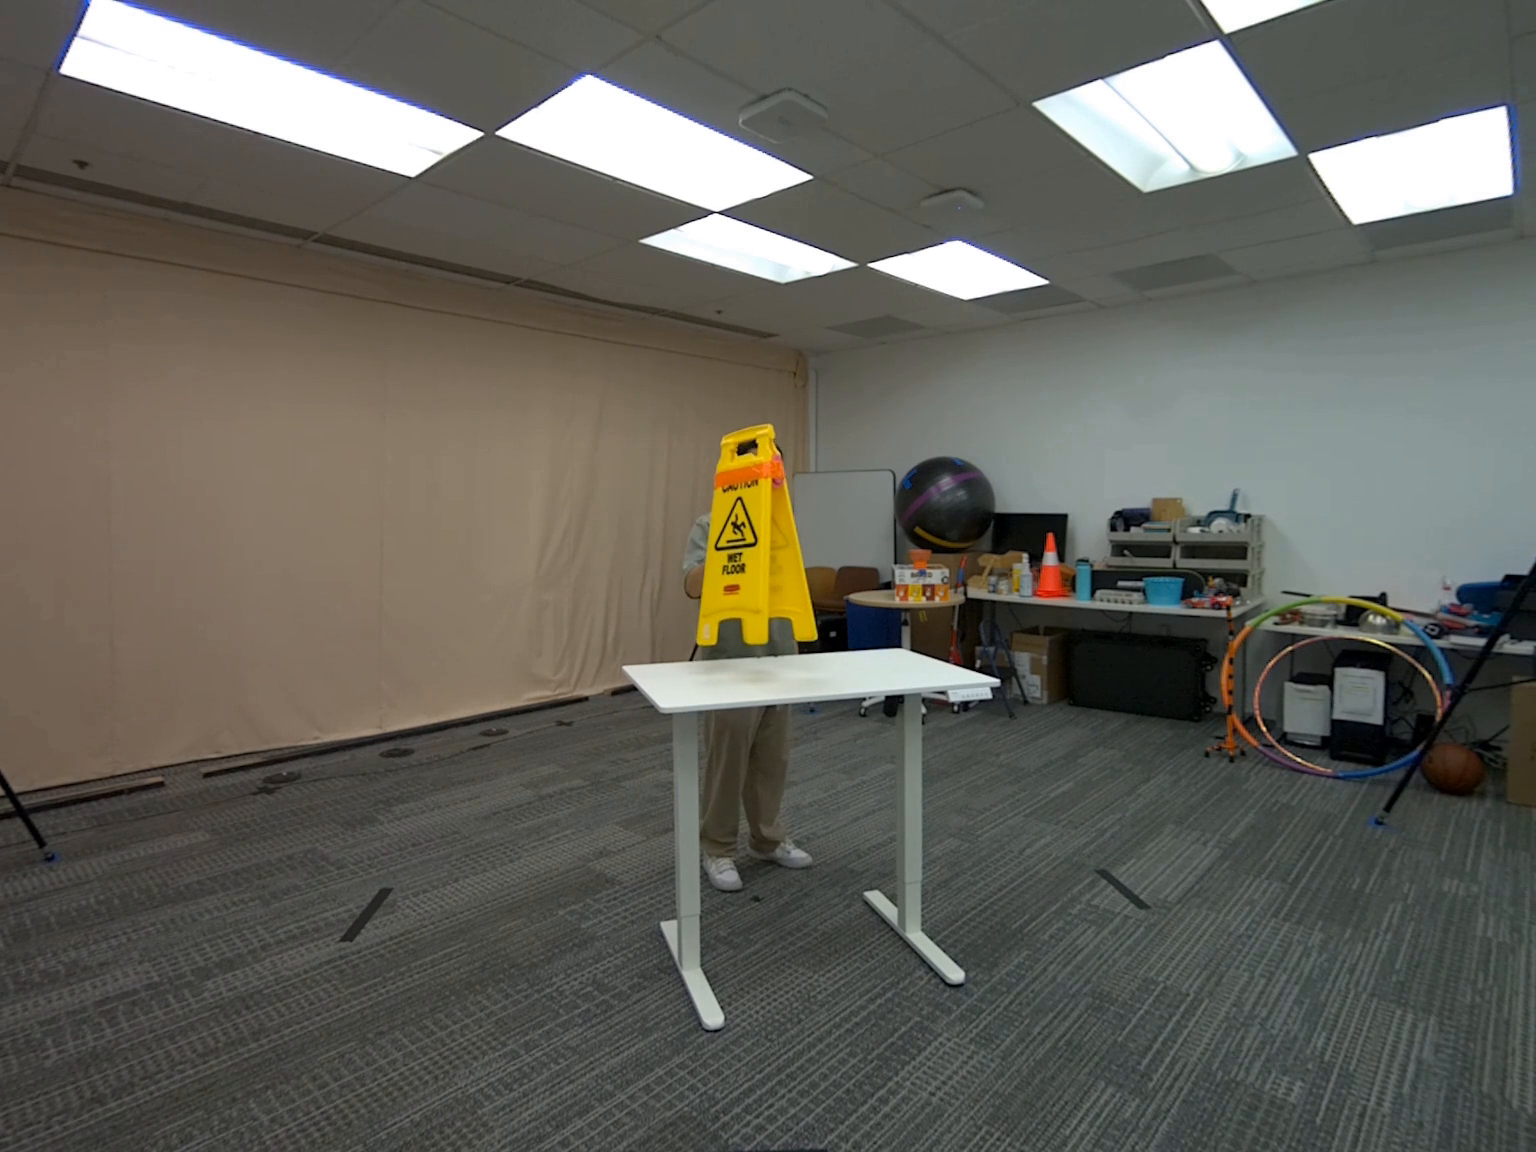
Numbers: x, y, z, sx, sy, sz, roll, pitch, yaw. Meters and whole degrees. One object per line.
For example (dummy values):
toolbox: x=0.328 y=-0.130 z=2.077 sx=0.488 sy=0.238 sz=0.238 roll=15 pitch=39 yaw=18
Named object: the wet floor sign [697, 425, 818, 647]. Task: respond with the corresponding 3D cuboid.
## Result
wet floor sign: x=-0.049 y=-0.124 z=2.550 sx=0.290 sy=0.648 sz=0.280 roll=-9 pitch=-7 yaw=44
